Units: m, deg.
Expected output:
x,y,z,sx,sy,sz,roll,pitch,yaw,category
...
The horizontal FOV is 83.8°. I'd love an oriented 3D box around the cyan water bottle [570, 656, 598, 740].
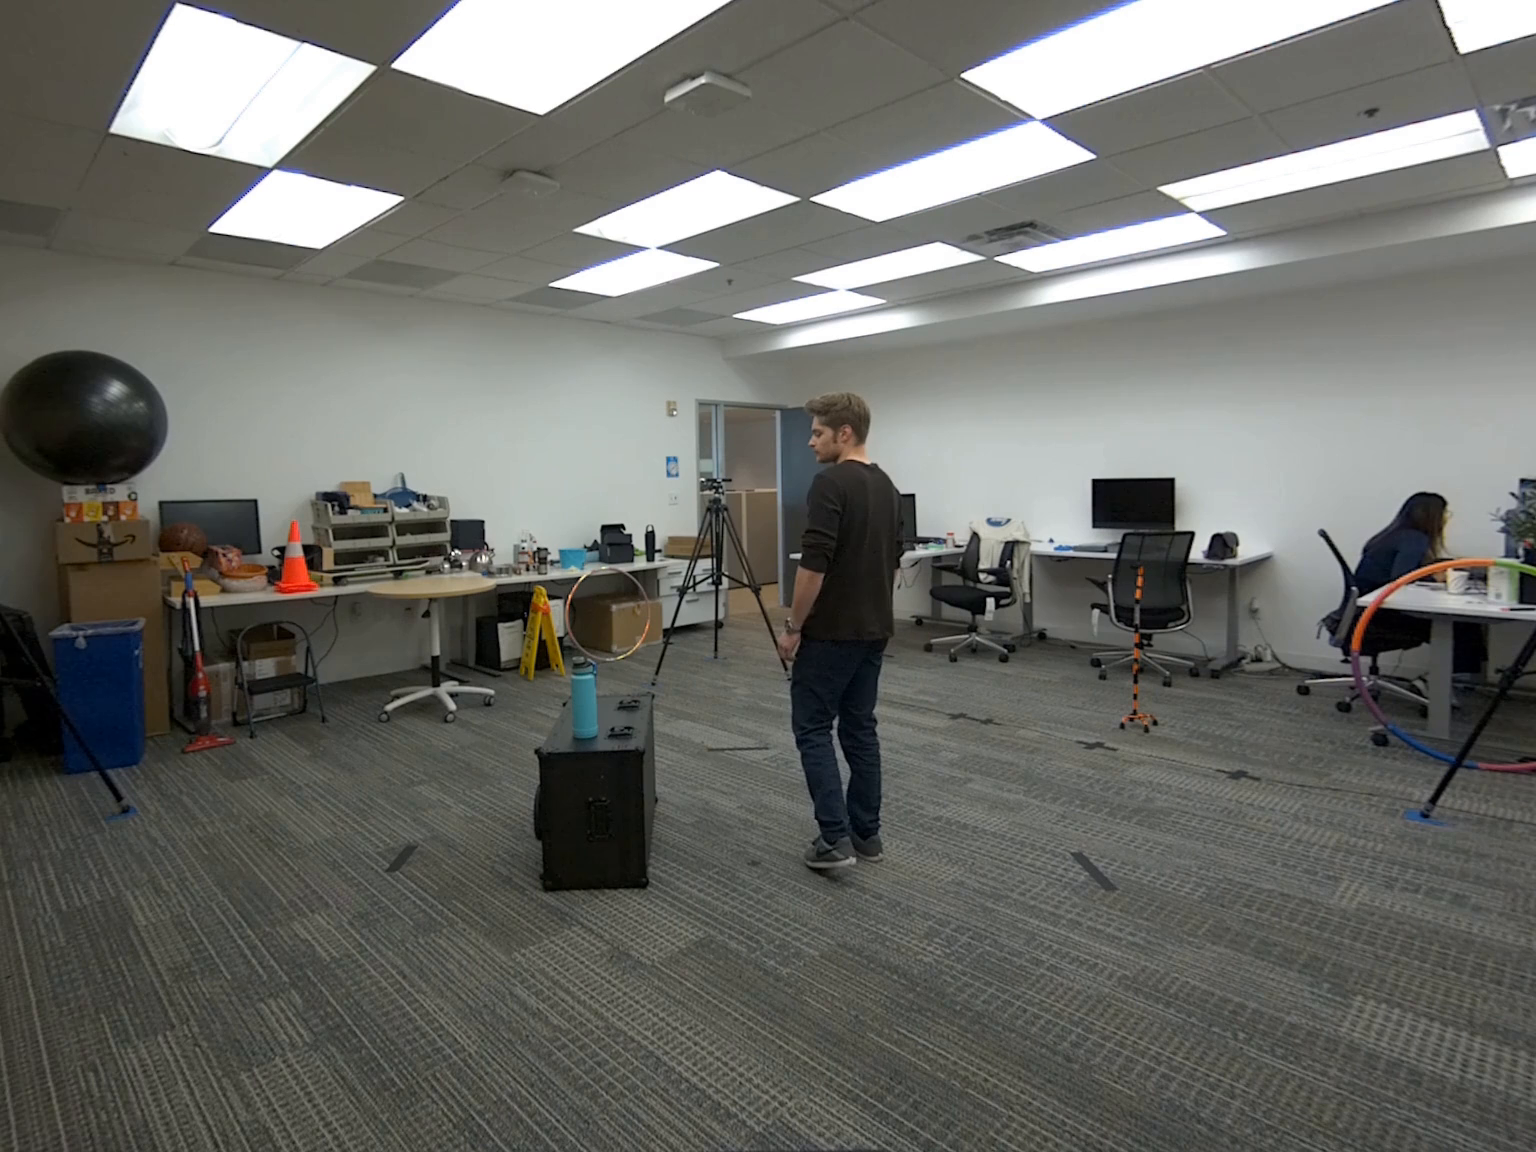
x,y,z,sx,sy,sz,roll,pitch,yaw,category
-0.663,0.437,3.085,0.092,0.282,0.092,-4,3,-1,cyan water bottle
